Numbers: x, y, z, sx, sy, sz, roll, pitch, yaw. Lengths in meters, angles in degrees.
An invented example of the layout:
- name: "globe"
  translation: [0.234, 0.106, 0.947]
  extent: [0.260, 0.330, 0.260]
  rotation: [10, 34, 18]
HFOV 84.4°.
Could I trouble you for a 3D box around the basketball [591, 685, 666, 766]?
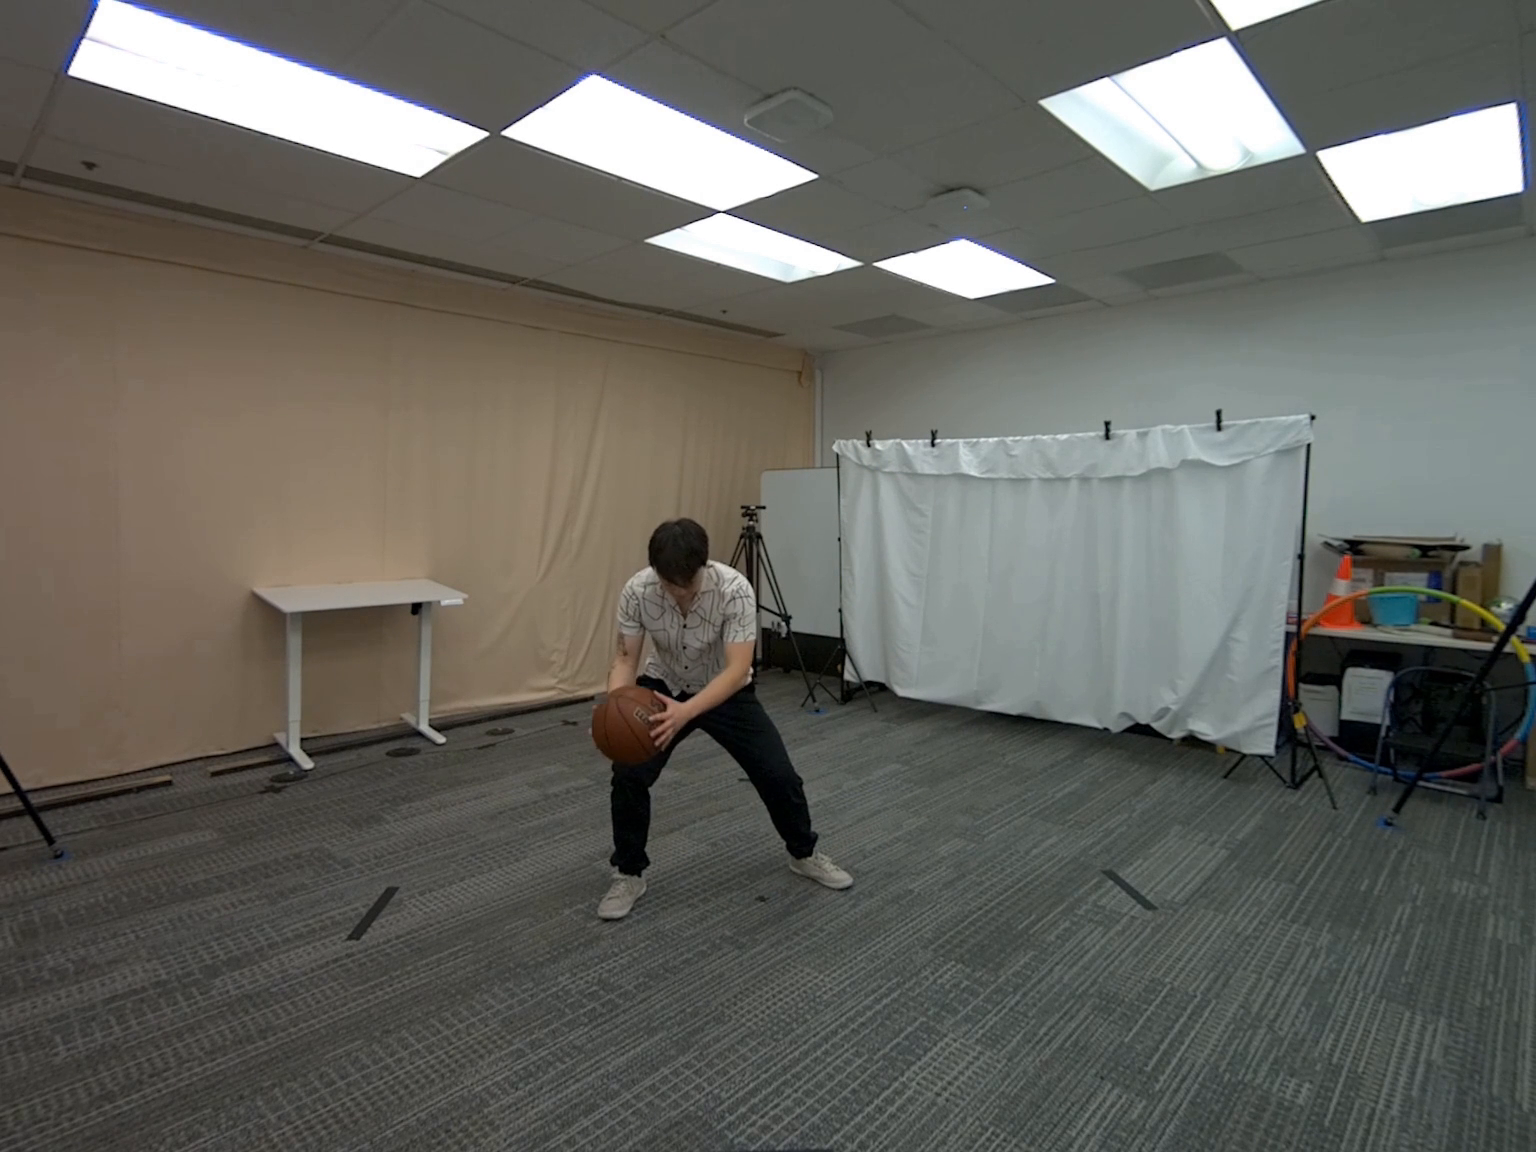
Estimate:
- name: "basketball"
  translation: [-0.421, 0.451, 2.597]
  extent: [0.236, 0.235, 0.237]
  rotation: [0, 4, -2]
